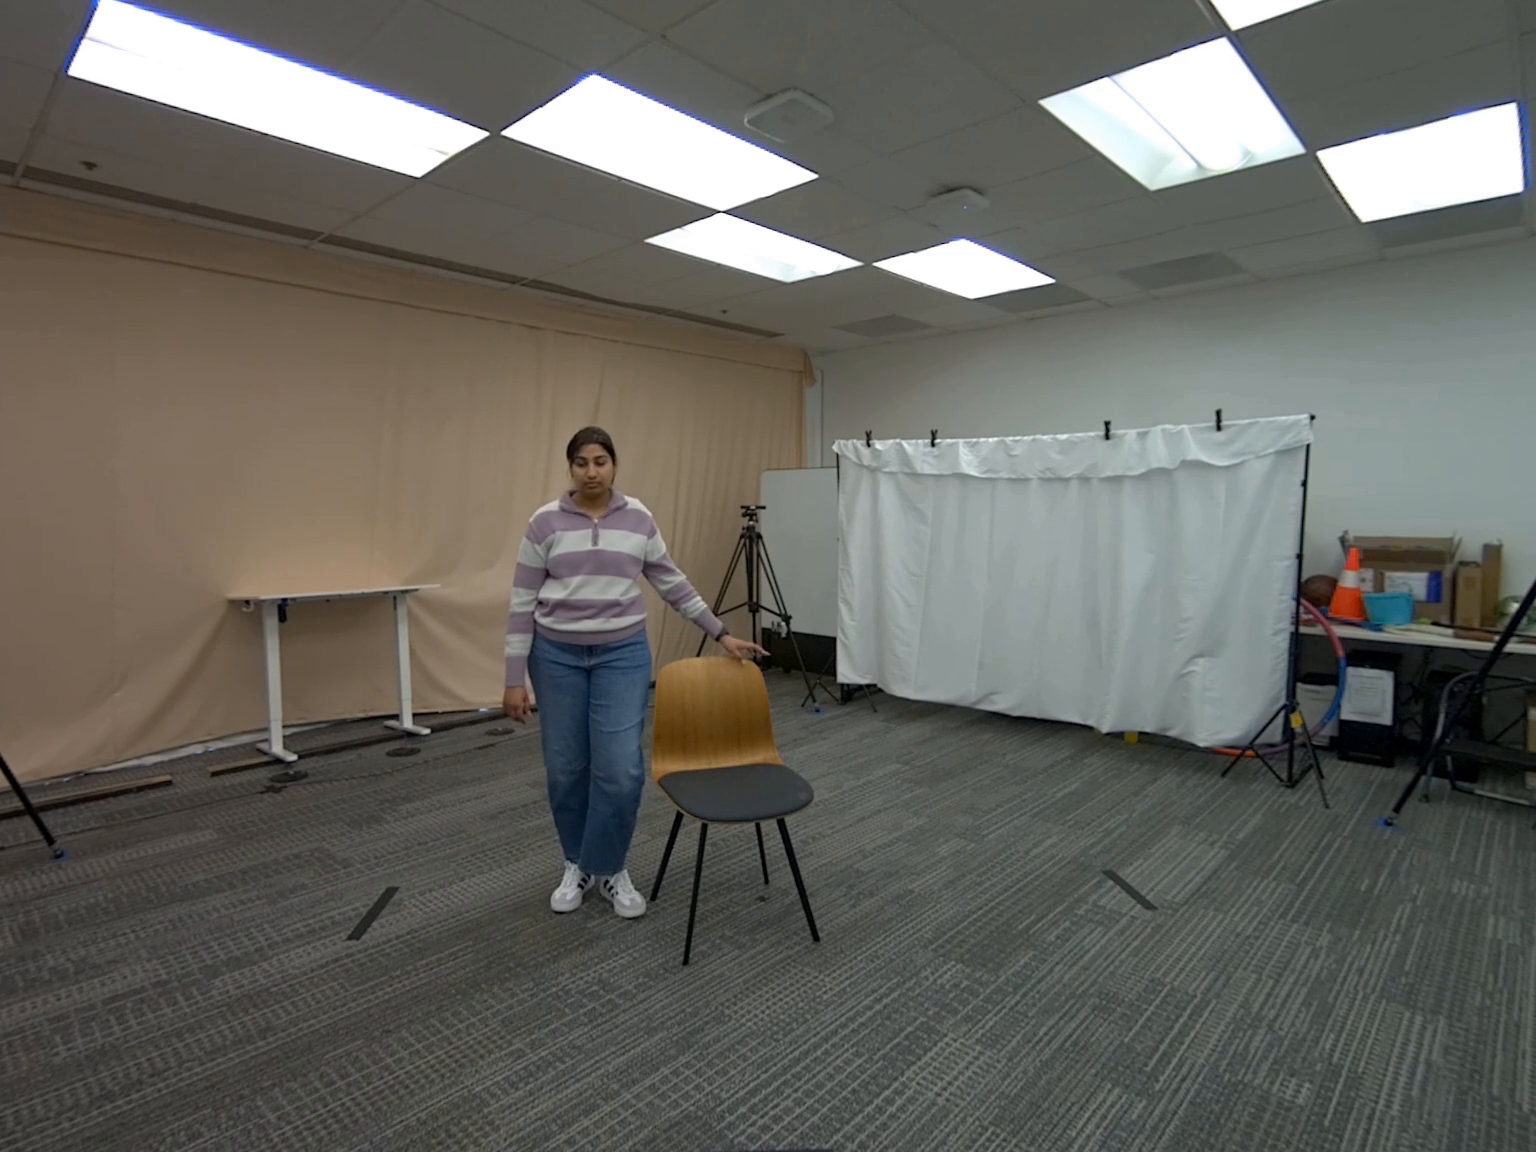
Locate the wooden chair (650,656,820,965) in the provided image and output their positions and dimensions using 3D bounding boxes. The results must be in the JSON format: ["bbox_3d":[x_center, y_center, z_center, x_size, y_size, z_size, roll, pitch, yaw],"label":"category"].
[{"bbox_3d":[-0.118,0.735,2.789,0.469,0.878,0.533,-1,-1,-20],"label":"wooden chair"}]
